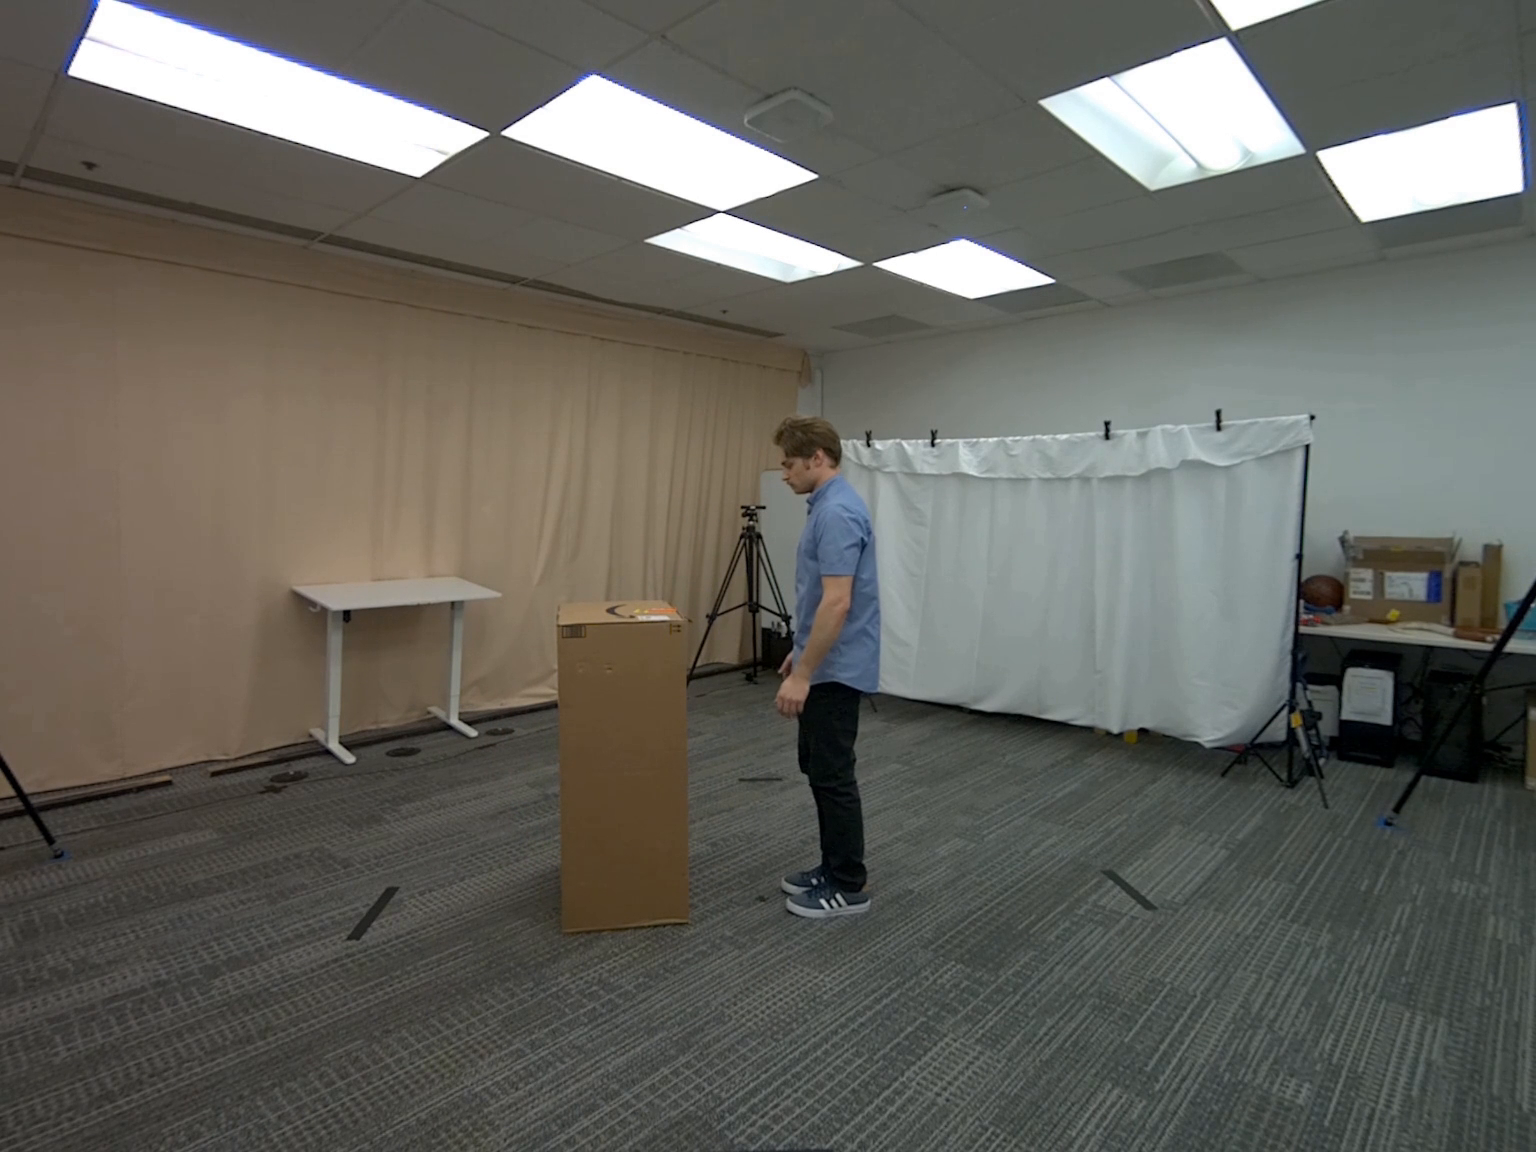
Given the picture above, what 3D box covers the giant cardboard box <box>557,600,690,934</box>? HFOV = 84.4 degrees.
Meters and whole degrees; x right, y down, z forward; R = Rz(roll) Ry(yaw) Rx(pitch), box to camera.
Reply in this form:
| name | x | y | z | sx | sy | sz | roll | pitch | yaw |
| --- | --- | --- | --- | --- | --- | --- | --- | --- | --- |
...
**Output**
| name | x | y | z | sx | sy | sz | roll | pitch | yaw |
| --- | --- | --- | --- | --- | --- | --- | --- | --- | --- |
| giant cardboard box | -0.537 | 0.635 | 3.042 | 0.443 | 1.025 | 0.590 | 0 | 3 | -9 |
